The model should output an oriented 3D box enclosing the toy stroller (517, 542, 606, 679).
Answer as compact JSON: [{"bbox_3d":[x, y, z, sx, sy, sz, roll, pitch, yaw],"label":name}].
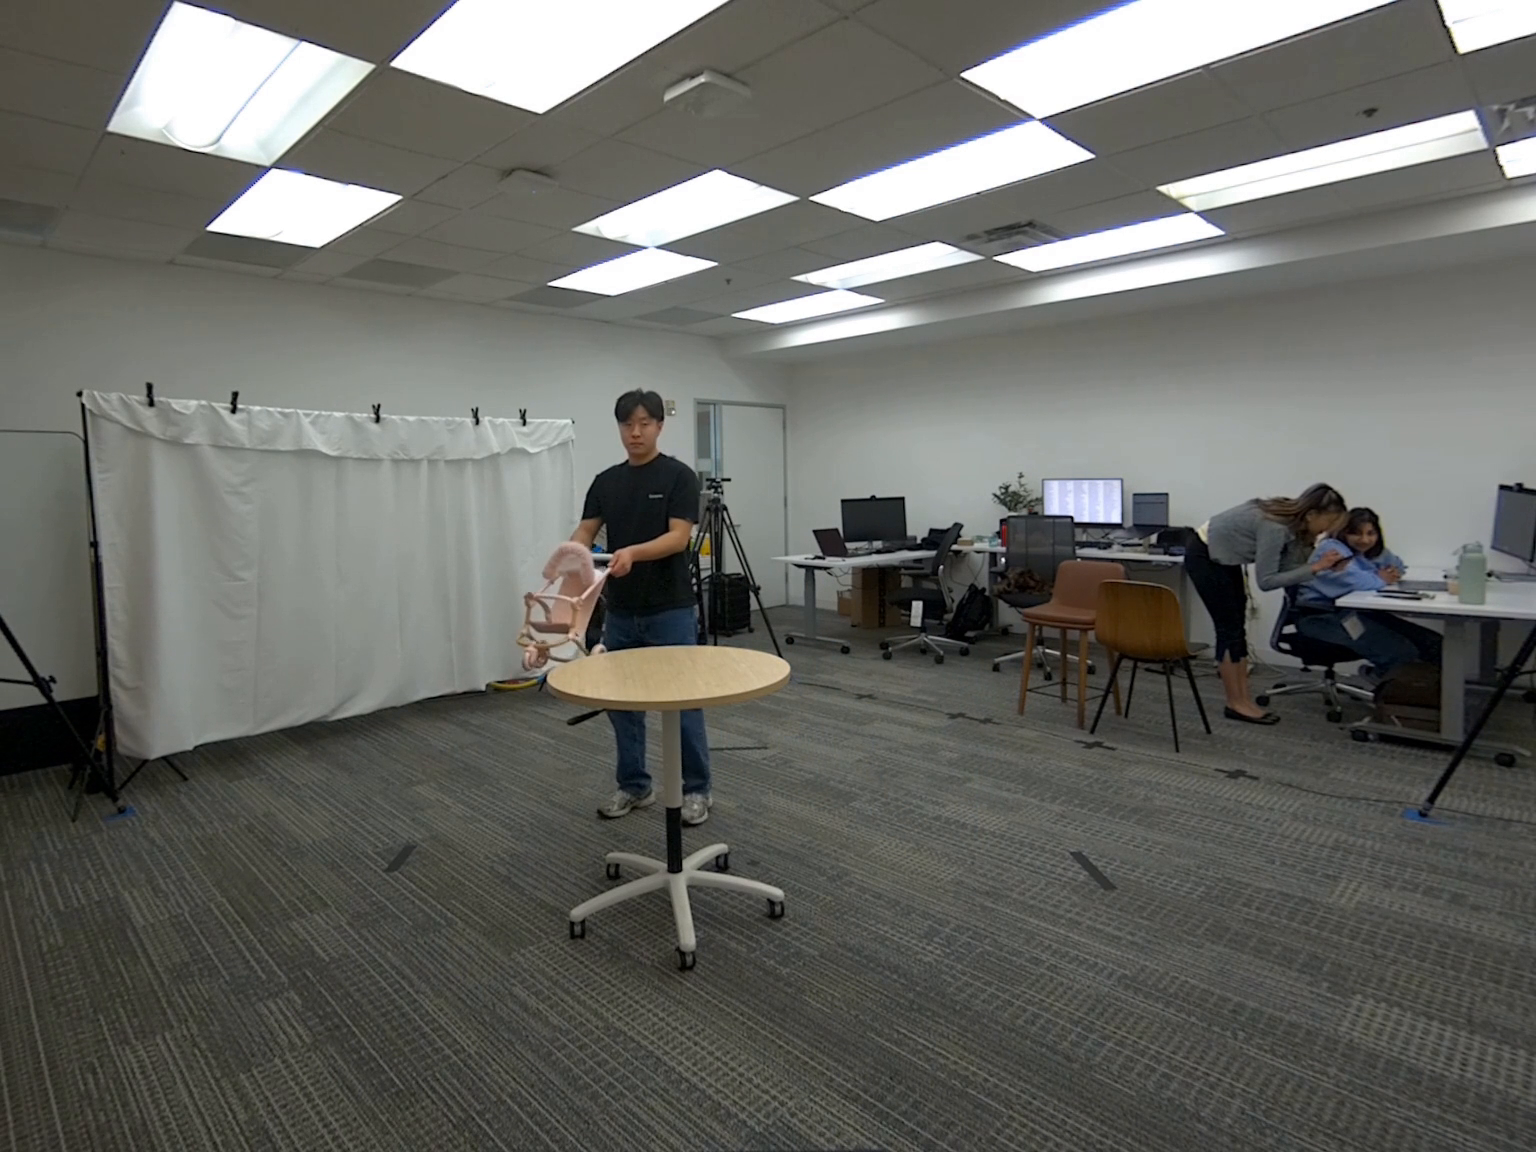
[{"bbox_3d":[-0.733,0.116,3.093,0.288,0.542,0.329,2,-20,23],"label":"toy stroller"}]
